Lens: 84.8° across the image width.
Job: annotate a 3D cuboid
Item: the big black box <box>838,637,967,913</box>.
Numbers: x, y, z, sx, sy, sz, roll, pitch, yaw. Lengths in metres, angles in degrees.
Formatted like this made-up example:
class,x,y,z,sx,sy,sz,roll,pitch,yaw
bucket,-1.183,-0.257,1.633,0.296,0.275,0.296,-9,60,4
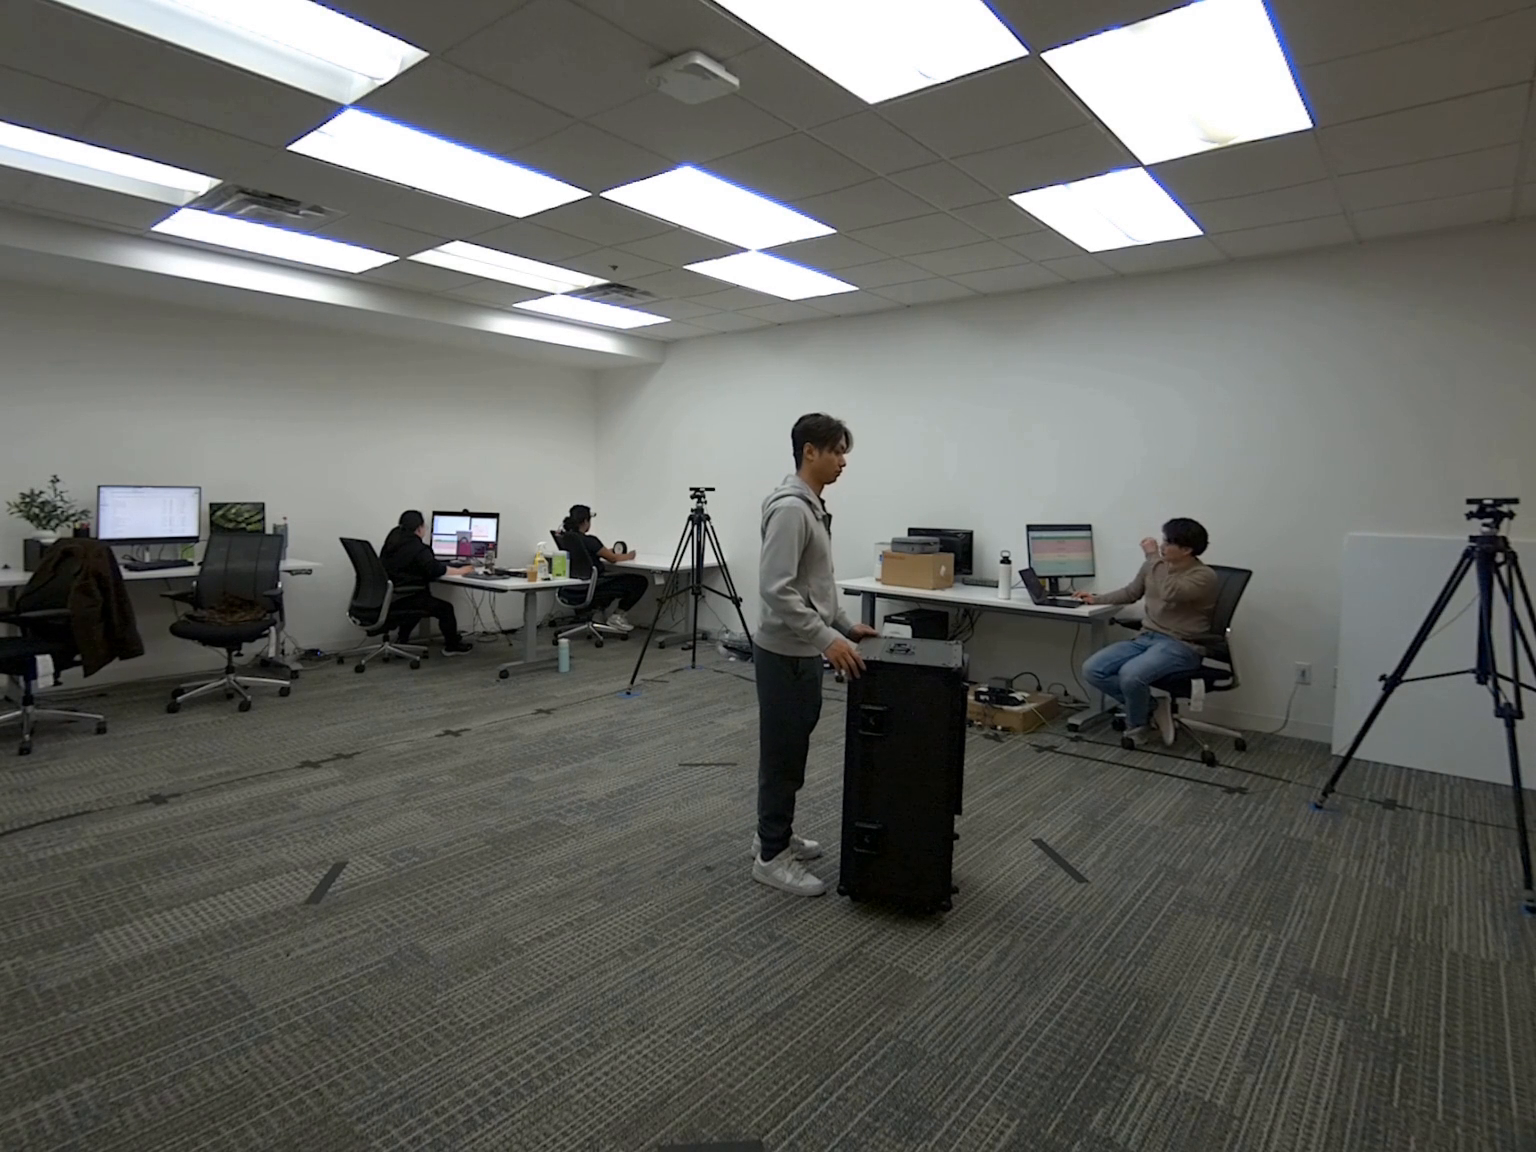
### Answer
class,x,y,z,sx,sy,sz,roll,pitch,yaw
big black box,0.474,0.671,2.938,0.403,0.858,0.514,3,4,14
